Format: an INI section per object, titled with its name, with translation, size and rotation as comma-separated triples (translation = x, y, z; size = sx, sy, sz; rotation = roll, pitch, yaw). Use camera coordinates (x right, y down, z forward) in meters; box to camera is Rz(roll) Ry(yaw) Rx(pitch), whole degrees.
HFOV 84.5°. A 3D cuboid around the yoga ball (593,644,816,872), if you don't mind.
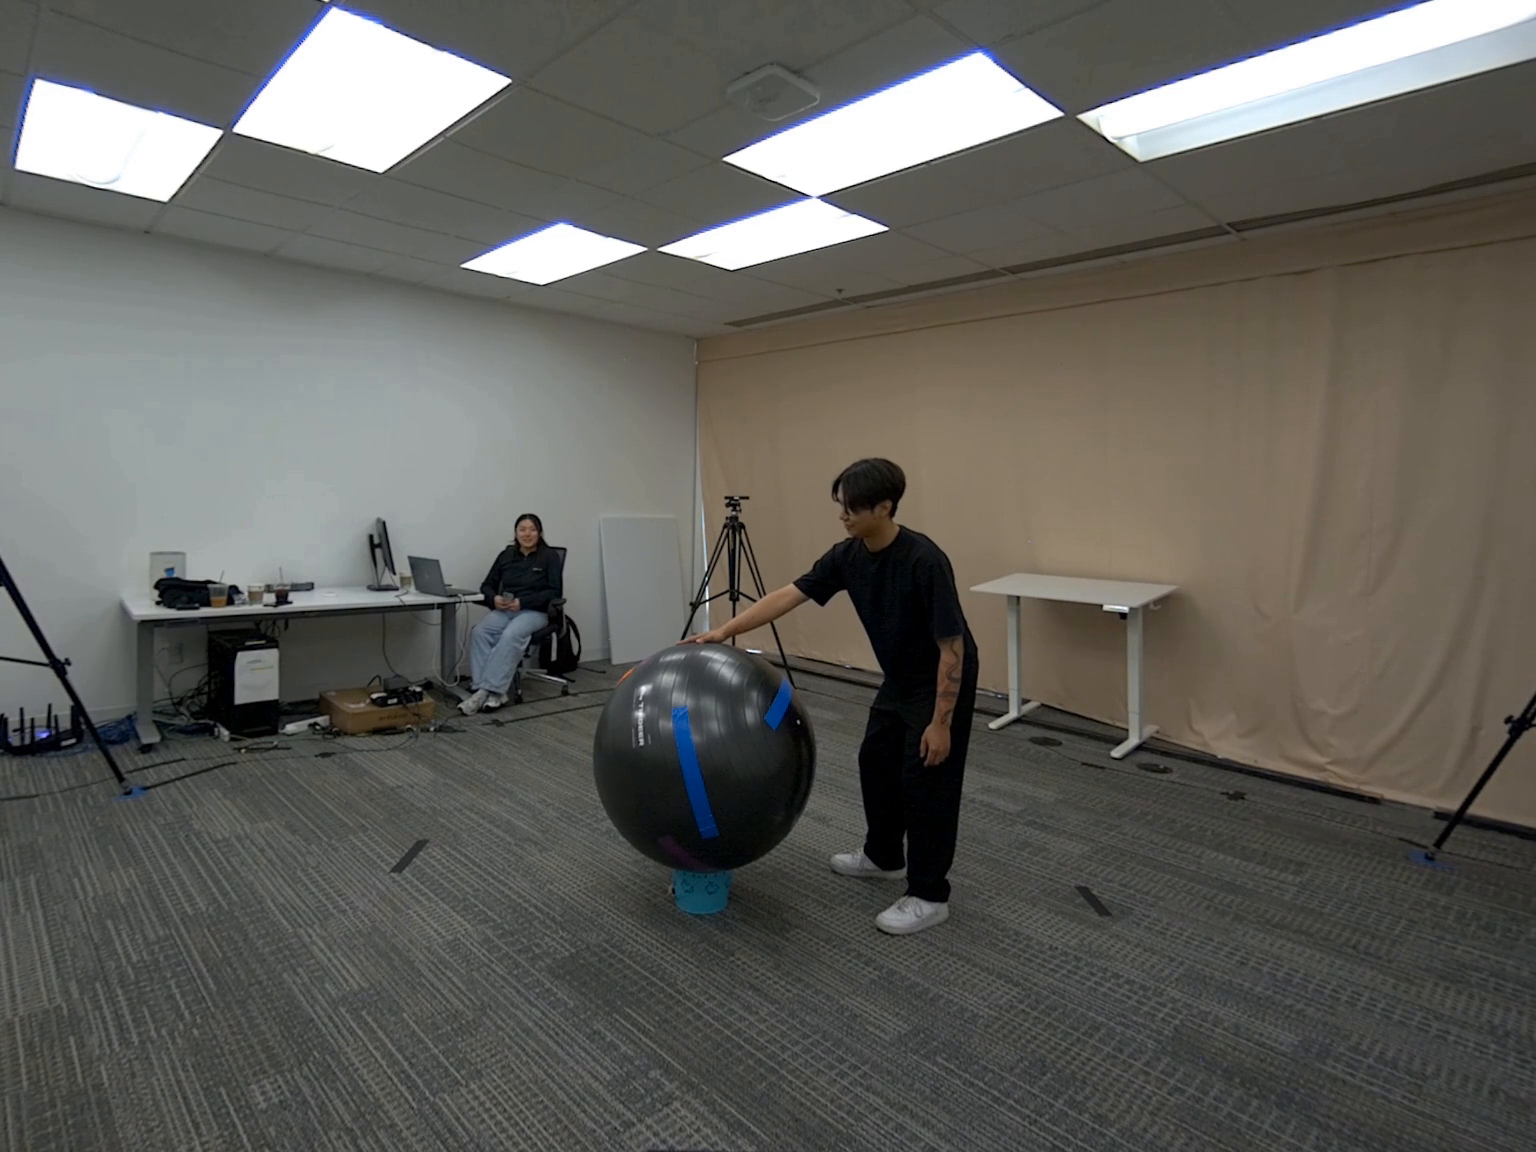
[yoga ball]
translation = -0.229, 0.614, 2.878
size = 0.757, 0.756, 0.761
rotation = 1, 4, -1
